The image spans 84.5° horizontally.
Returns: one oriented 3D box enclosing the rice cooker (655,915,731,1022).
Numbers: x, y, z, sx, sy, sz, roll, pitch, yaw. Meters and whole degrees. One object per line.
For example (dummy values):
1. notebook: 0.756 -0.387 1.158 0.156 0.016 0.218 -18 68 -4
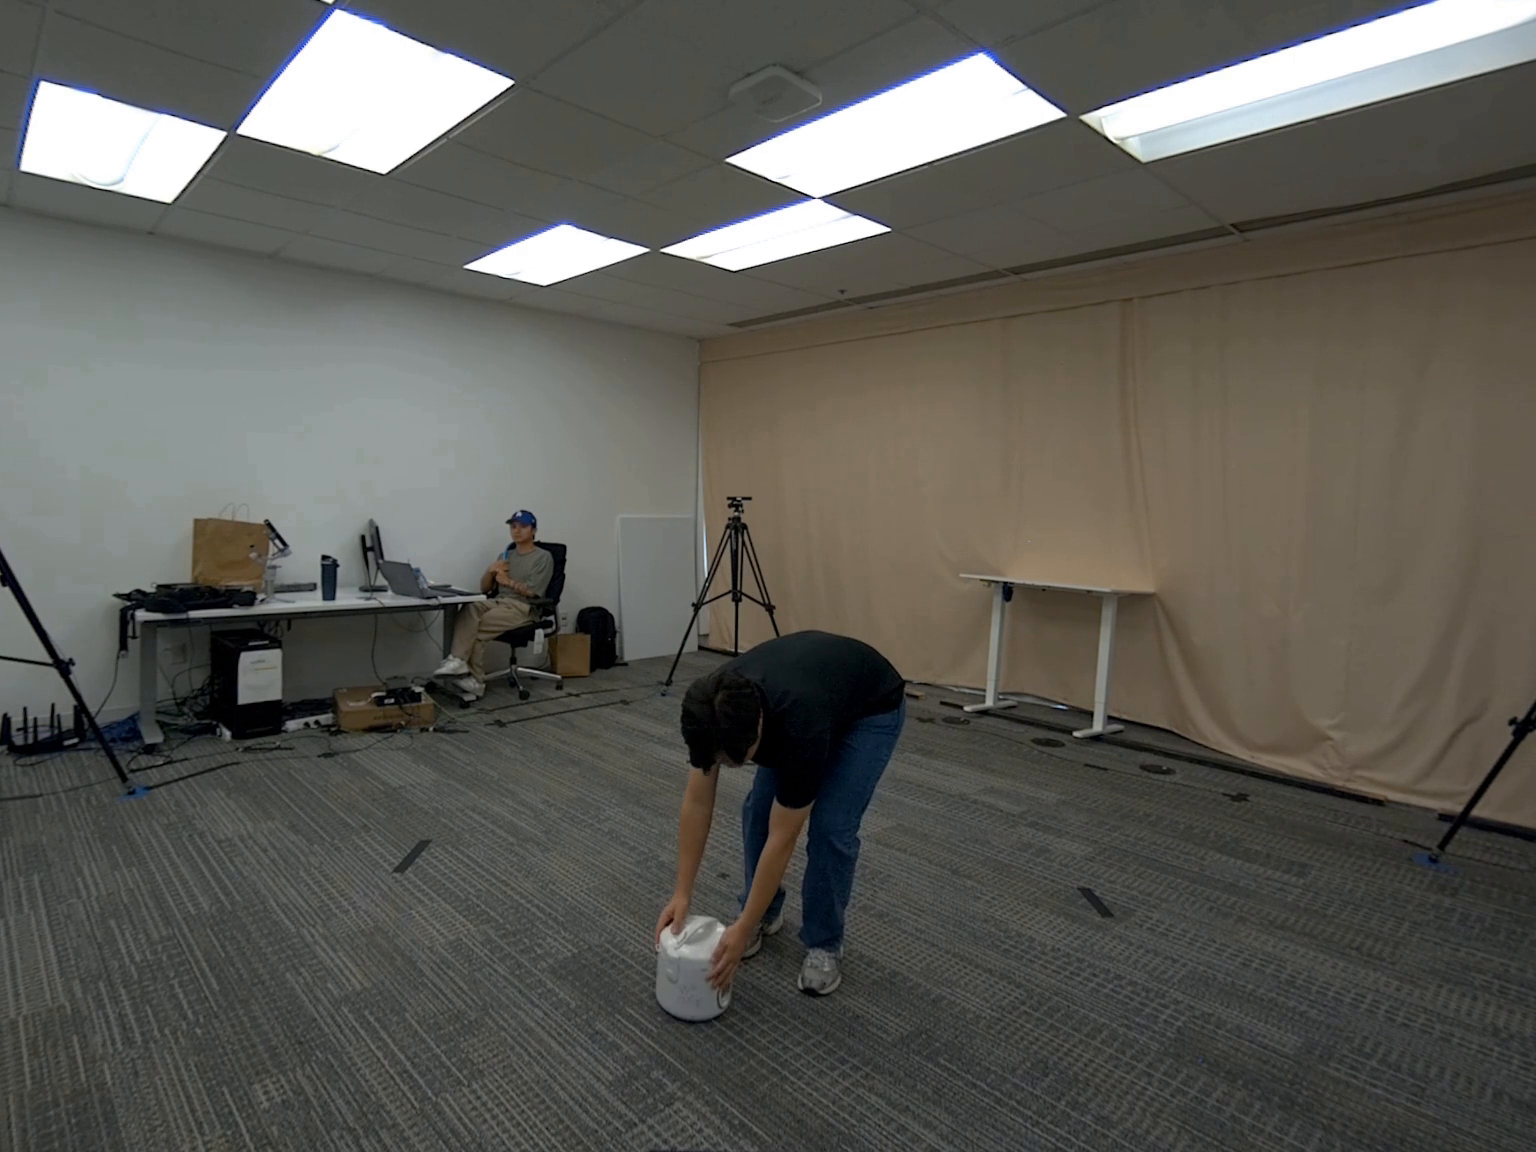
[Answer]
1. rice cooker: -0.194 1.052 2.296 0.223 0.232 0.216 8 8 36
